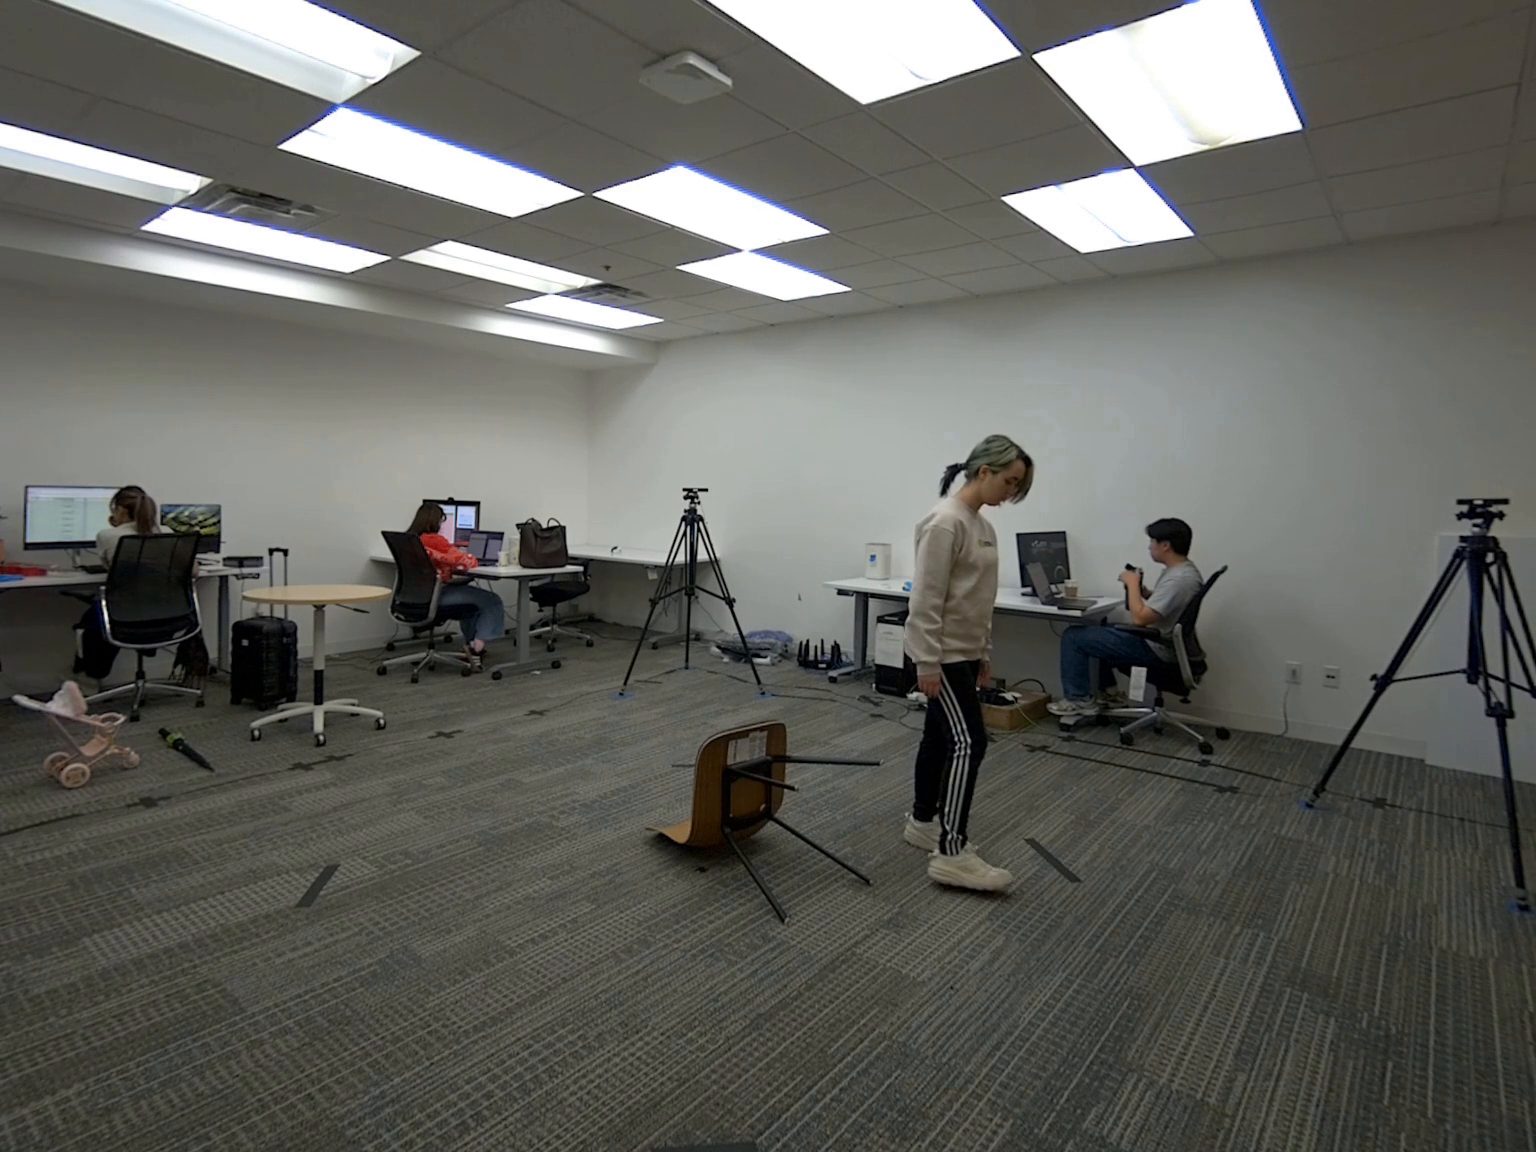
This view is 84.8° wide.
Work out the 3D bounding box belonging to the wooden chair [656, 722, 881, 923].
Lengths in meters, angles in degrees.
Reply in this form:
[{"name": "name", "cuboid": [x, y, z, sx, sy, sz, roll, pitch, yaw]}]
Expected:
[{"name": "wooden chair", "cuboid": [-0.080, 0.809, 3.164, 0.463, 0.522, 0.907, -2, 4, -43]}]
